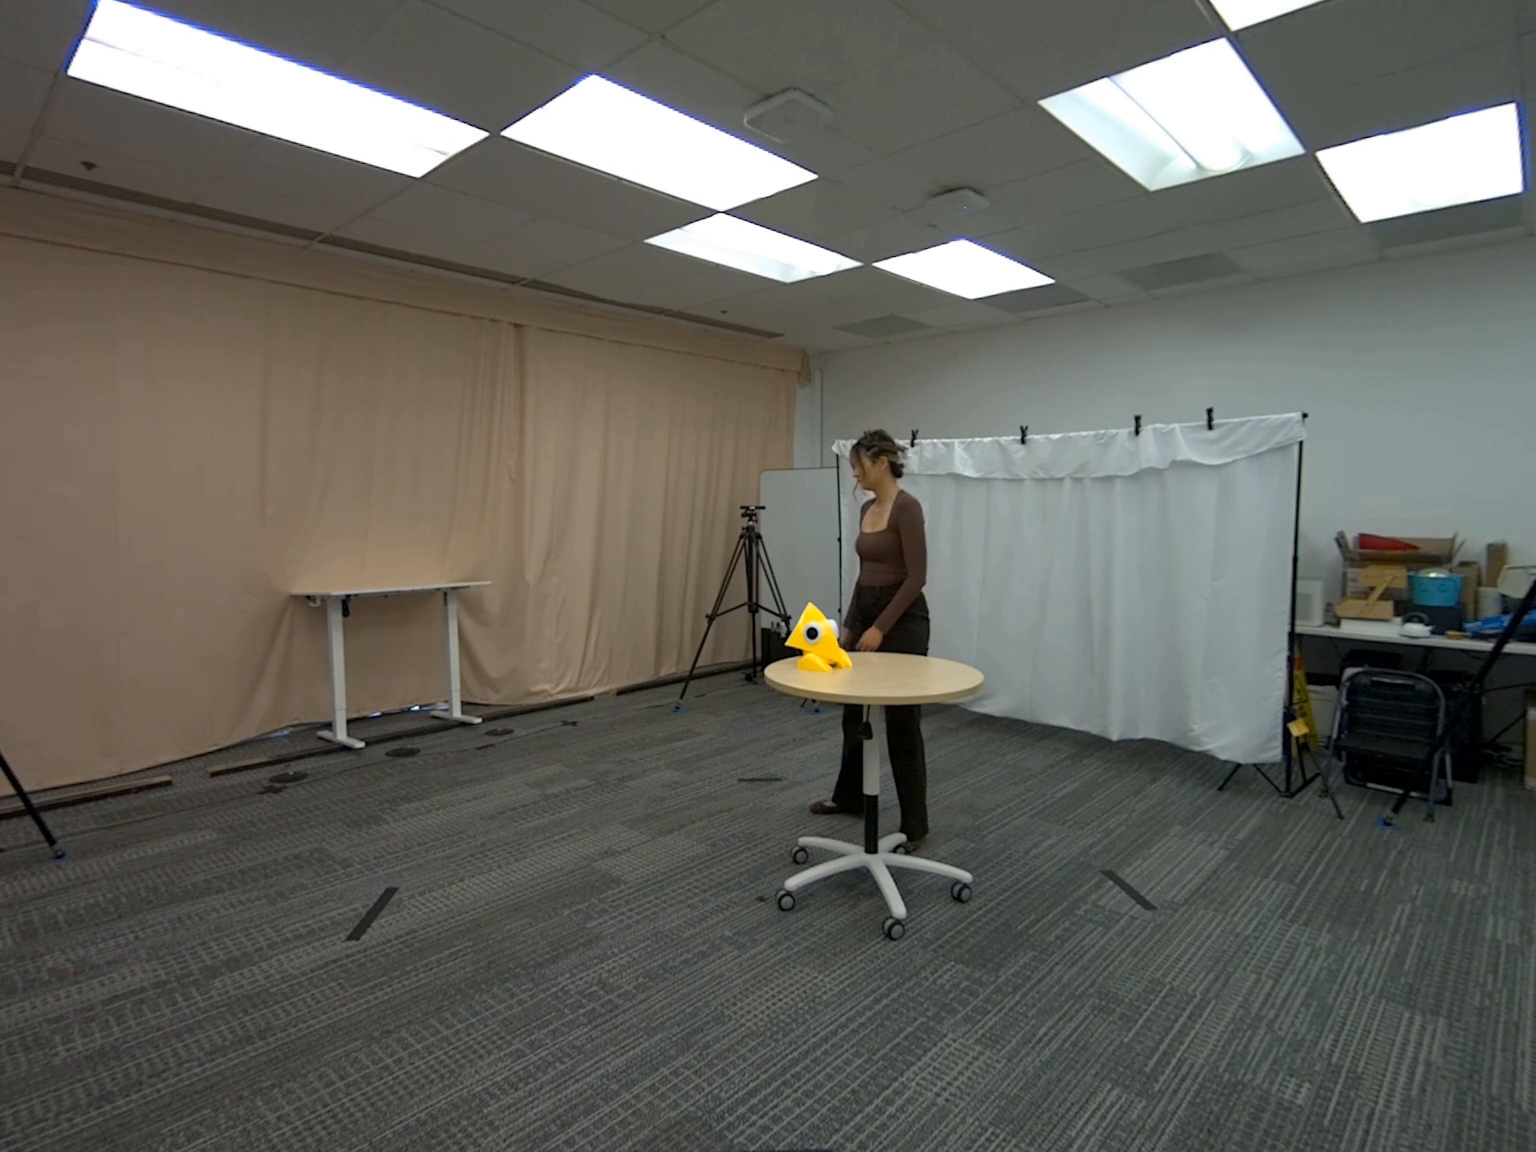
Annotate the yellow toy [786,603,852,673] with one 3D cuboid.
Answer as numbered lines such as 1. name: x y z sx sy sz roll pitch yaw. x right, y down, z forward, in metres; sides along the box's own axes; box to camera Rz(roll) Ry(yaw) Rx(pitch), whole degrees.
1. yellow toy: 0.199 0.219 3.124 0.198 0.230 0.199 -3 6 -42
